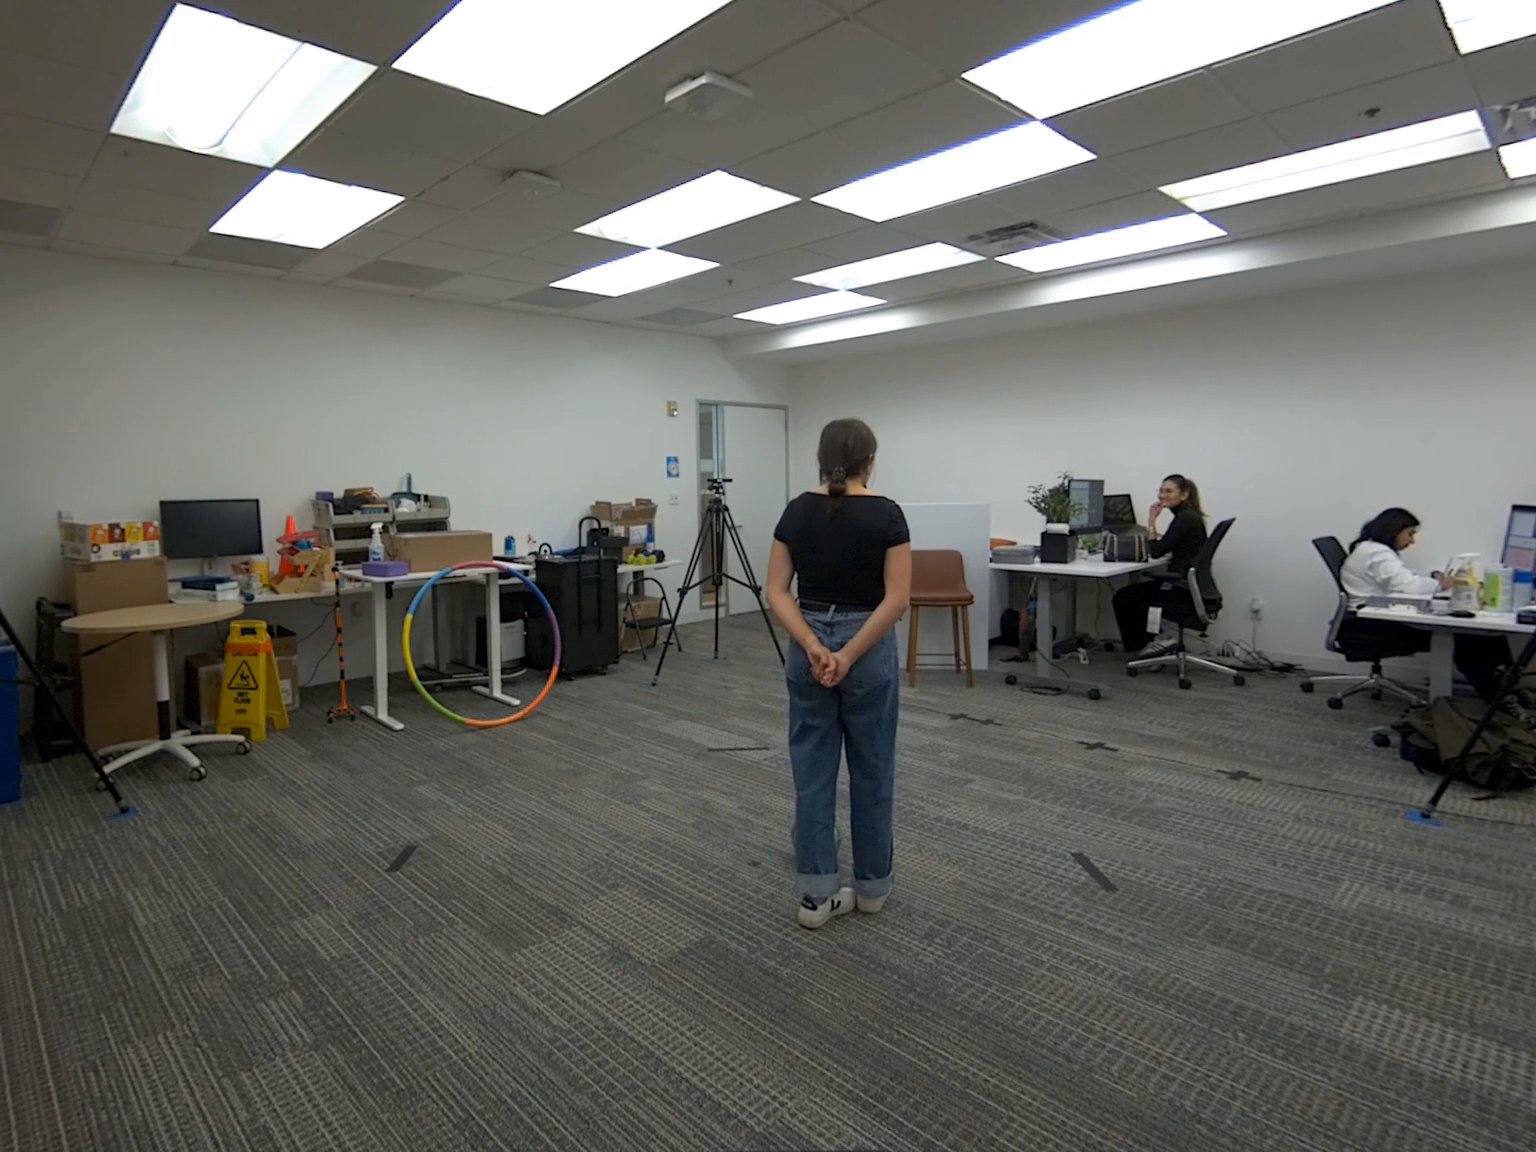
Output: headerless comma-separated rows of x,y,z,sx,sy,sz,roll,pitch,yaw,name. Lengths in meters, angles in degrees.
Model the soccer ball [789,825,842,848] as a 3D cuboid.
0.184,0.947,3.128,0.187,0.187,0.188,-1,5,-2,soccer ball
